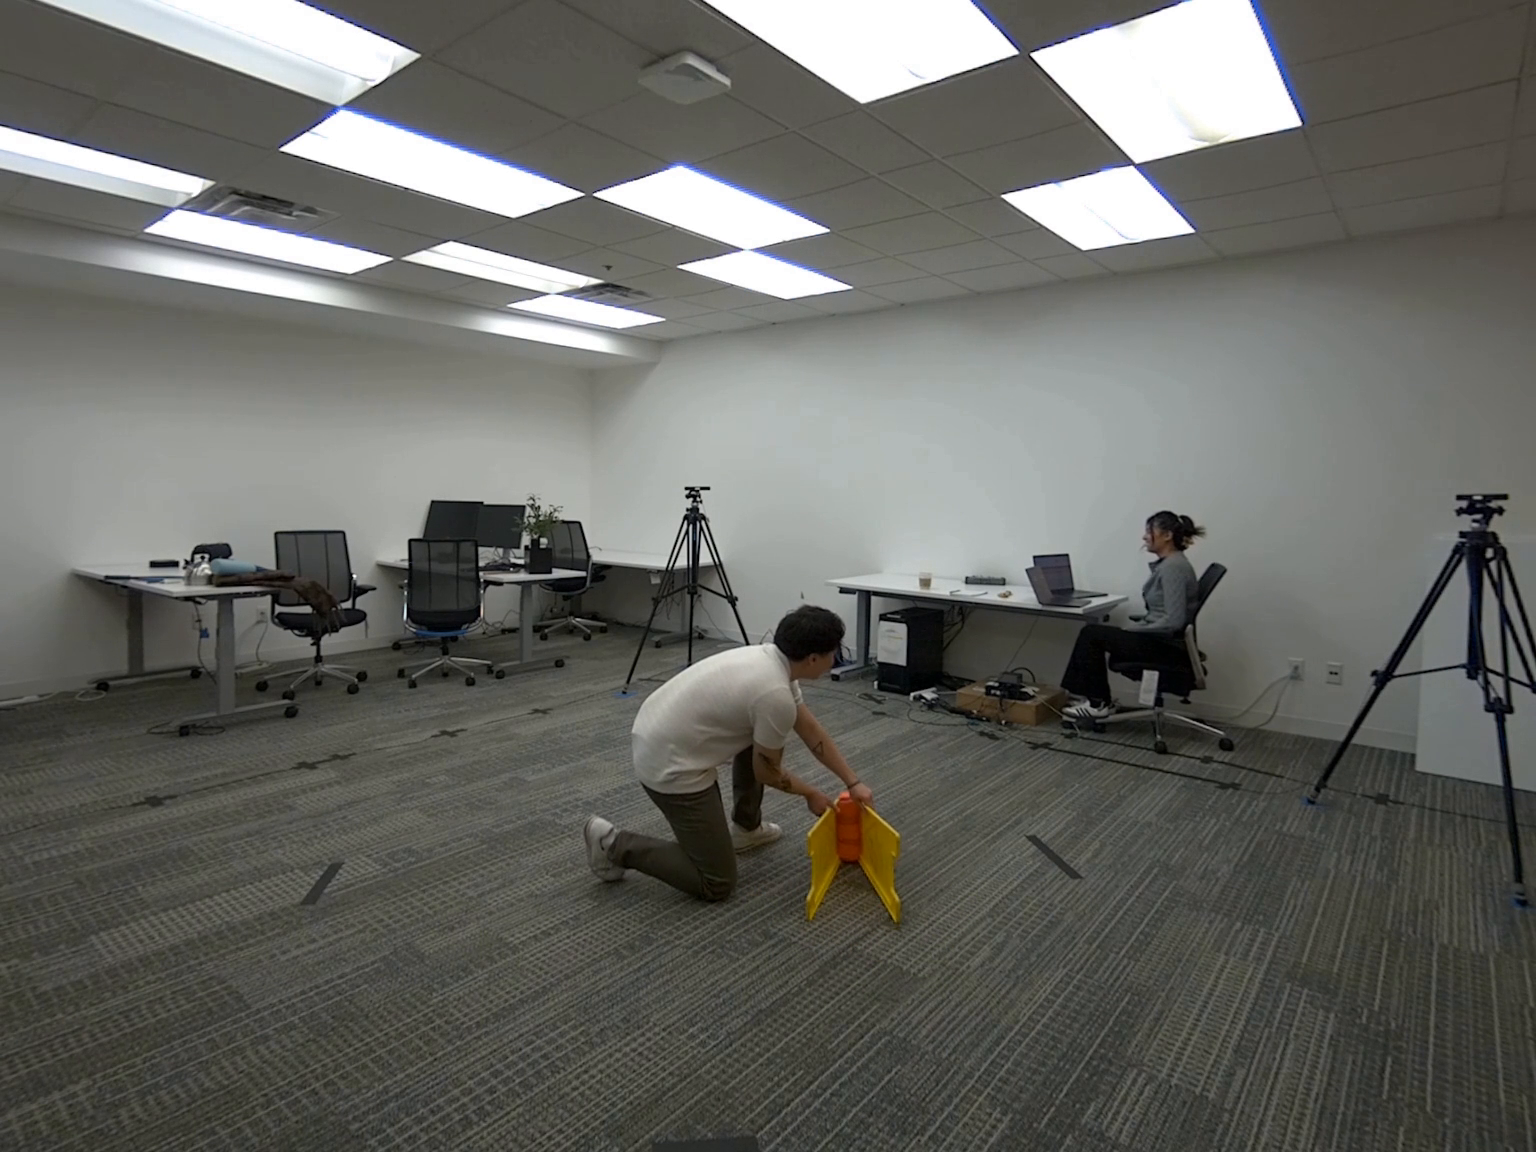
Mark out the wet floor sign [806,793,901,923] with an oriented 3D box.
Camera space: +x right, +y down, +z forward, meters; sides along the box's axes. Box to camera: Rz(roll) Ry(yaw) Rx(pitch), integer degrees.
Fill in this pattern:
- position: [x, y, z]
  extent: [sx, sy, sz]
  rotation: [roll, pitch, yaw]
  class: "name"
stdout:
- position: [0.283, 0.950, 3.037]
  extent: [0.291, 0.282, 0.643]
  rotation: [-1, 1, 3]
  class: "wet floor sign"
